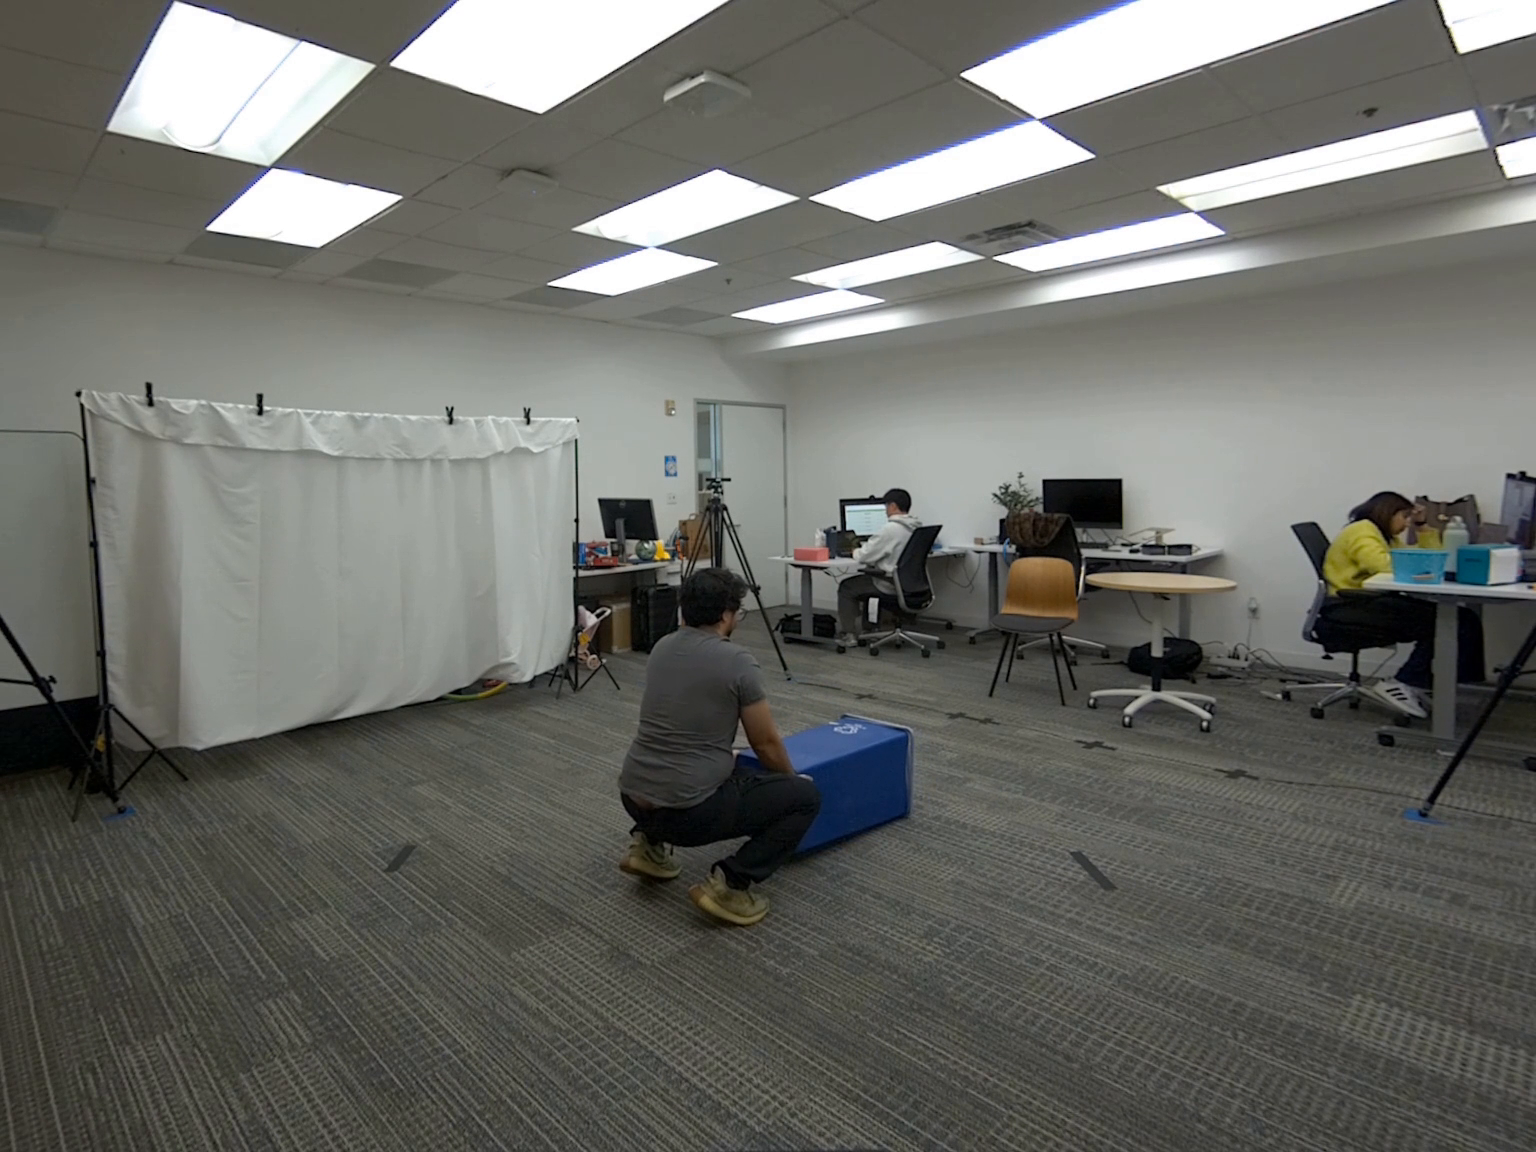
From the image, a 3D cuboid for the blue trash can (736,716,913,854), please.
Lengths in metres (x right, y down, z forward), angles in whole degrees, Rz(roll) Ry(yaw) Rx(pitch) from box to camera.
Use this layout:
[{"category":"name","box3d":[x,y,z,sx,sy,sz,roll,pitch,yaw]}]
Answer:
[{"category":"blue trash can","box3d":[0.229,0.816,3.361,0.386,0.377,0.694,5,6,42]}]
